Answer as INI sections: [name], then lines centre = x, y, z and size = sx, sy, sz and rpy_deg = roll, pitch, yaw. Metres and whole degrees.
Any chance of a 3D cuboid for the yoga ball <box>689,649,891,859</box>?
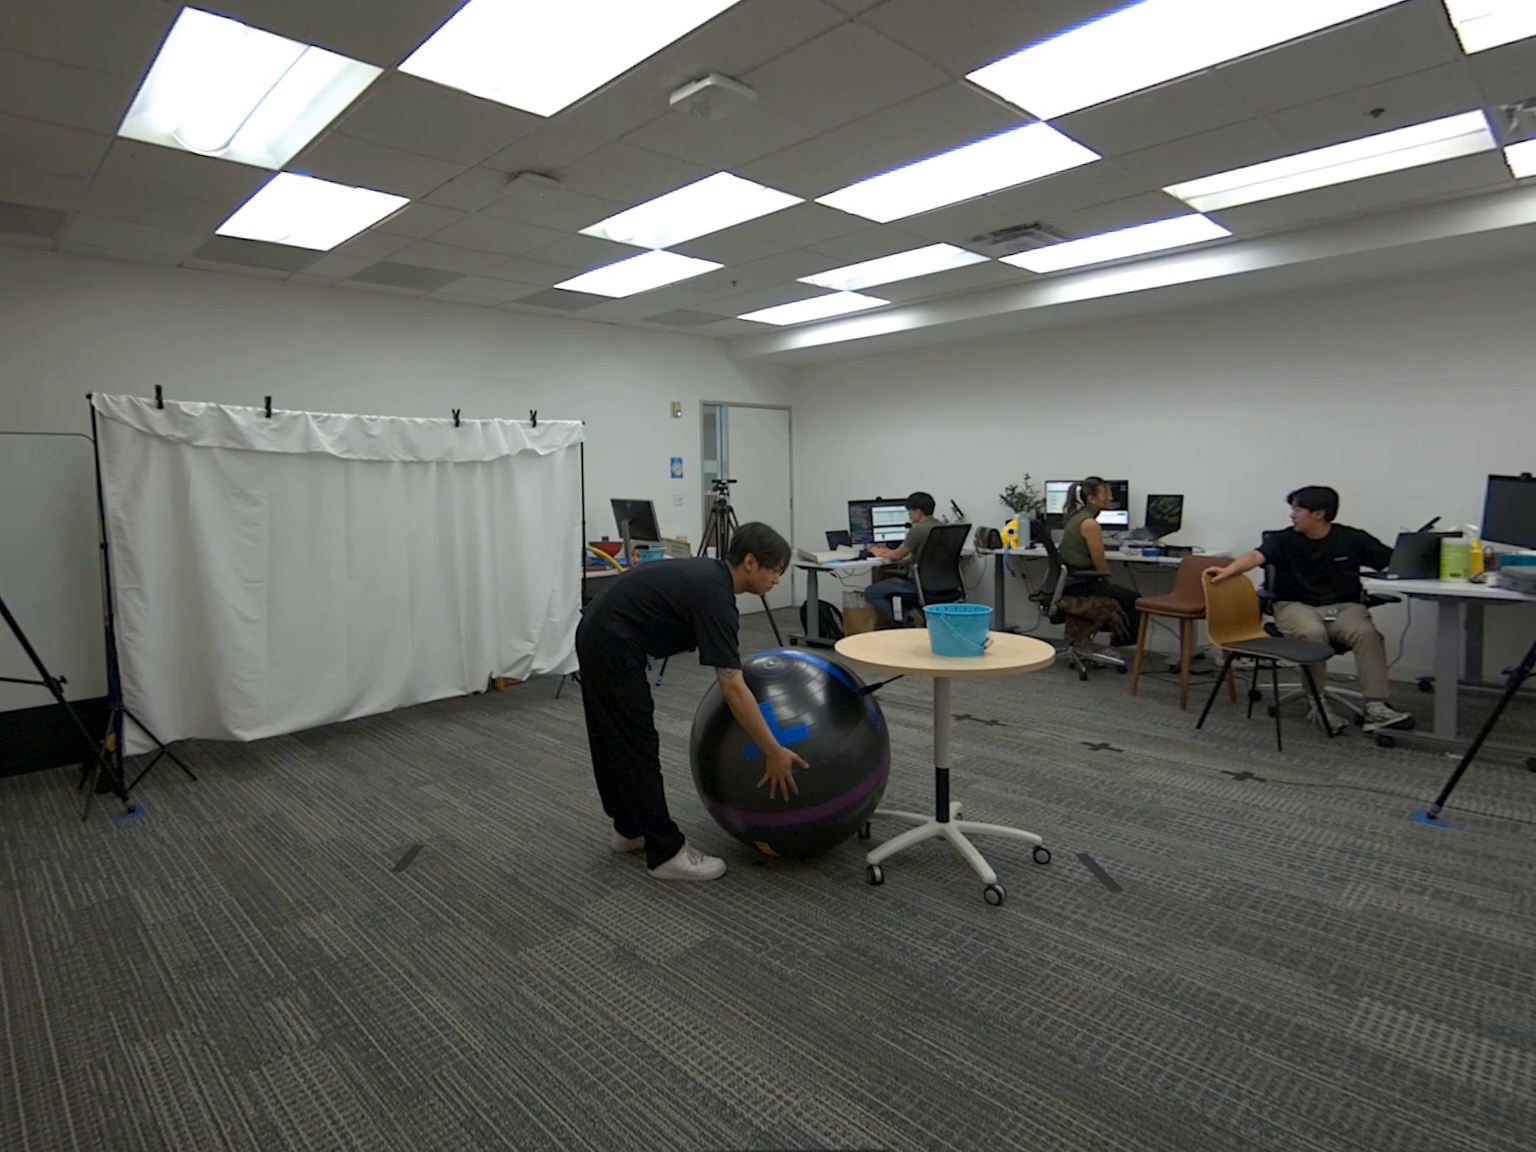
[yoga ball]
centre = 0.080, 0.661, 3.235
size = 0.757, 0.755, 0.762
rpy_deg = -1, 5, -2
